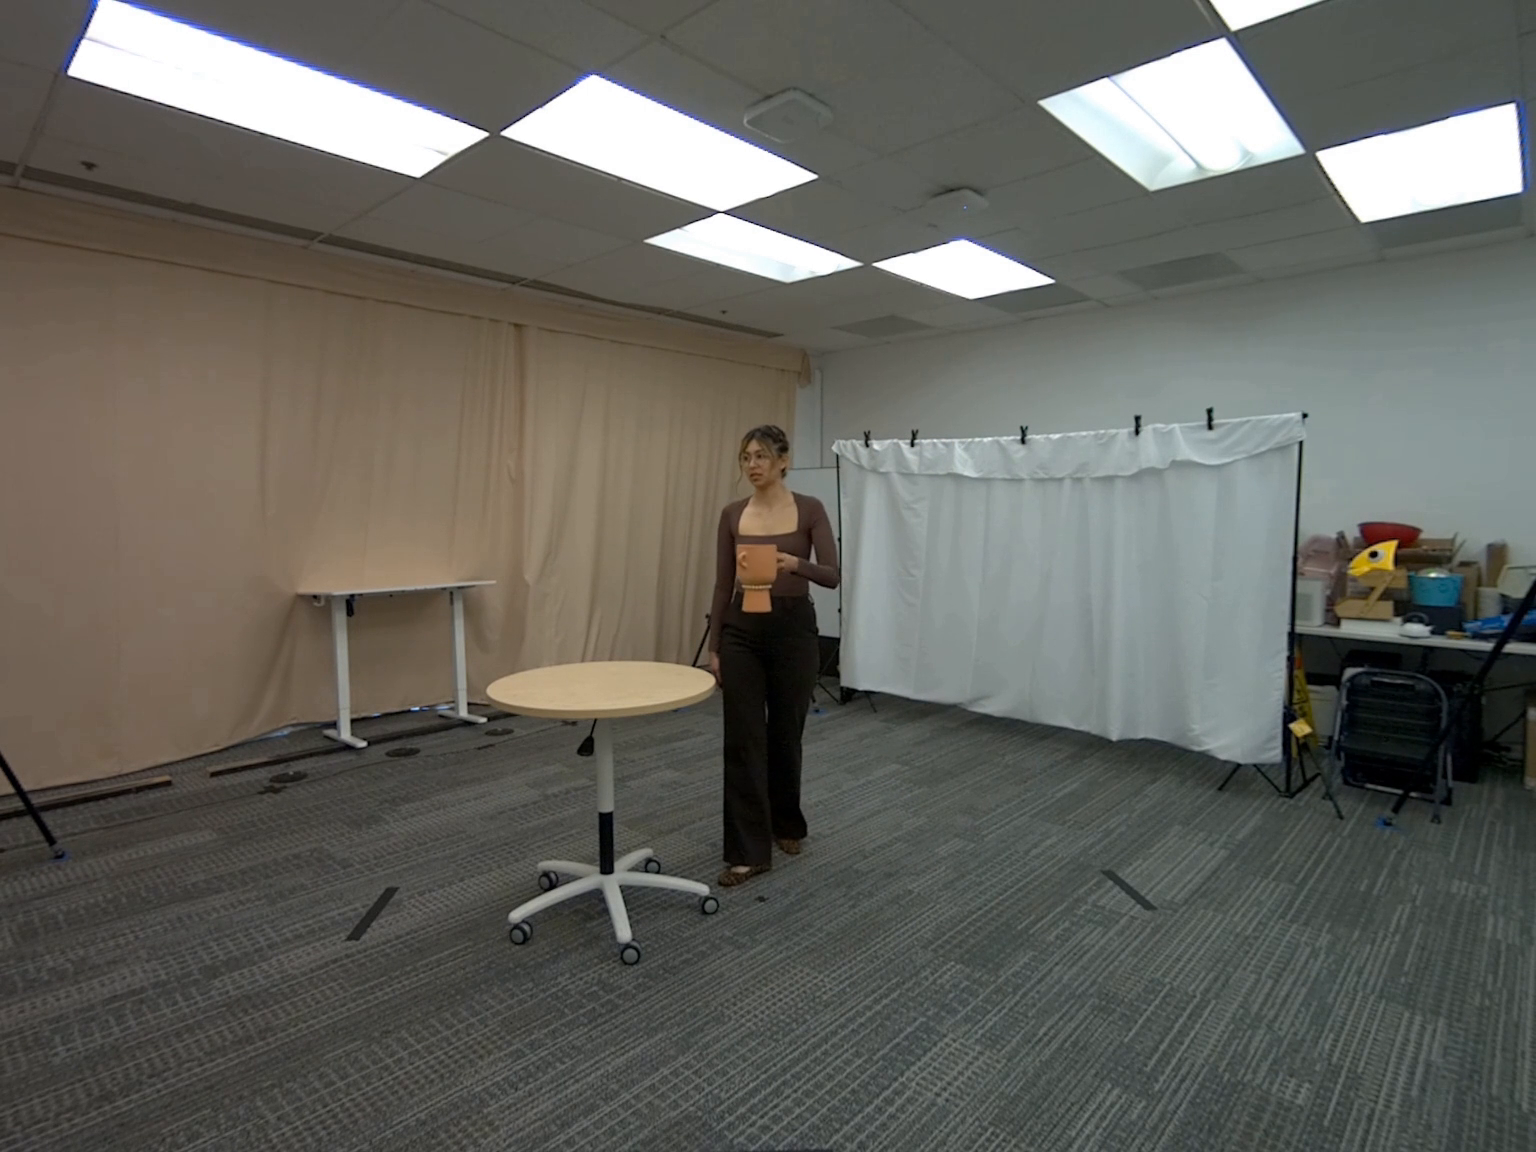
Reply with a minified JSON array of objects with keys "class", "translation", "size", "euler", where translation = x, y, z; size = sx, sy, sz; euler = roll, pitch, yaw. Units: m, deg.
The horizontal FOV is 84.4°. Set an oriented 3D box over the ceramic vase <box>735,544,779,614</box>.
[{"class":"ceramic vase","translation":[-0.037,0.007,2.819],"size":[0.156,0.219,0.137],"euler":[-1,2,-15]}]
